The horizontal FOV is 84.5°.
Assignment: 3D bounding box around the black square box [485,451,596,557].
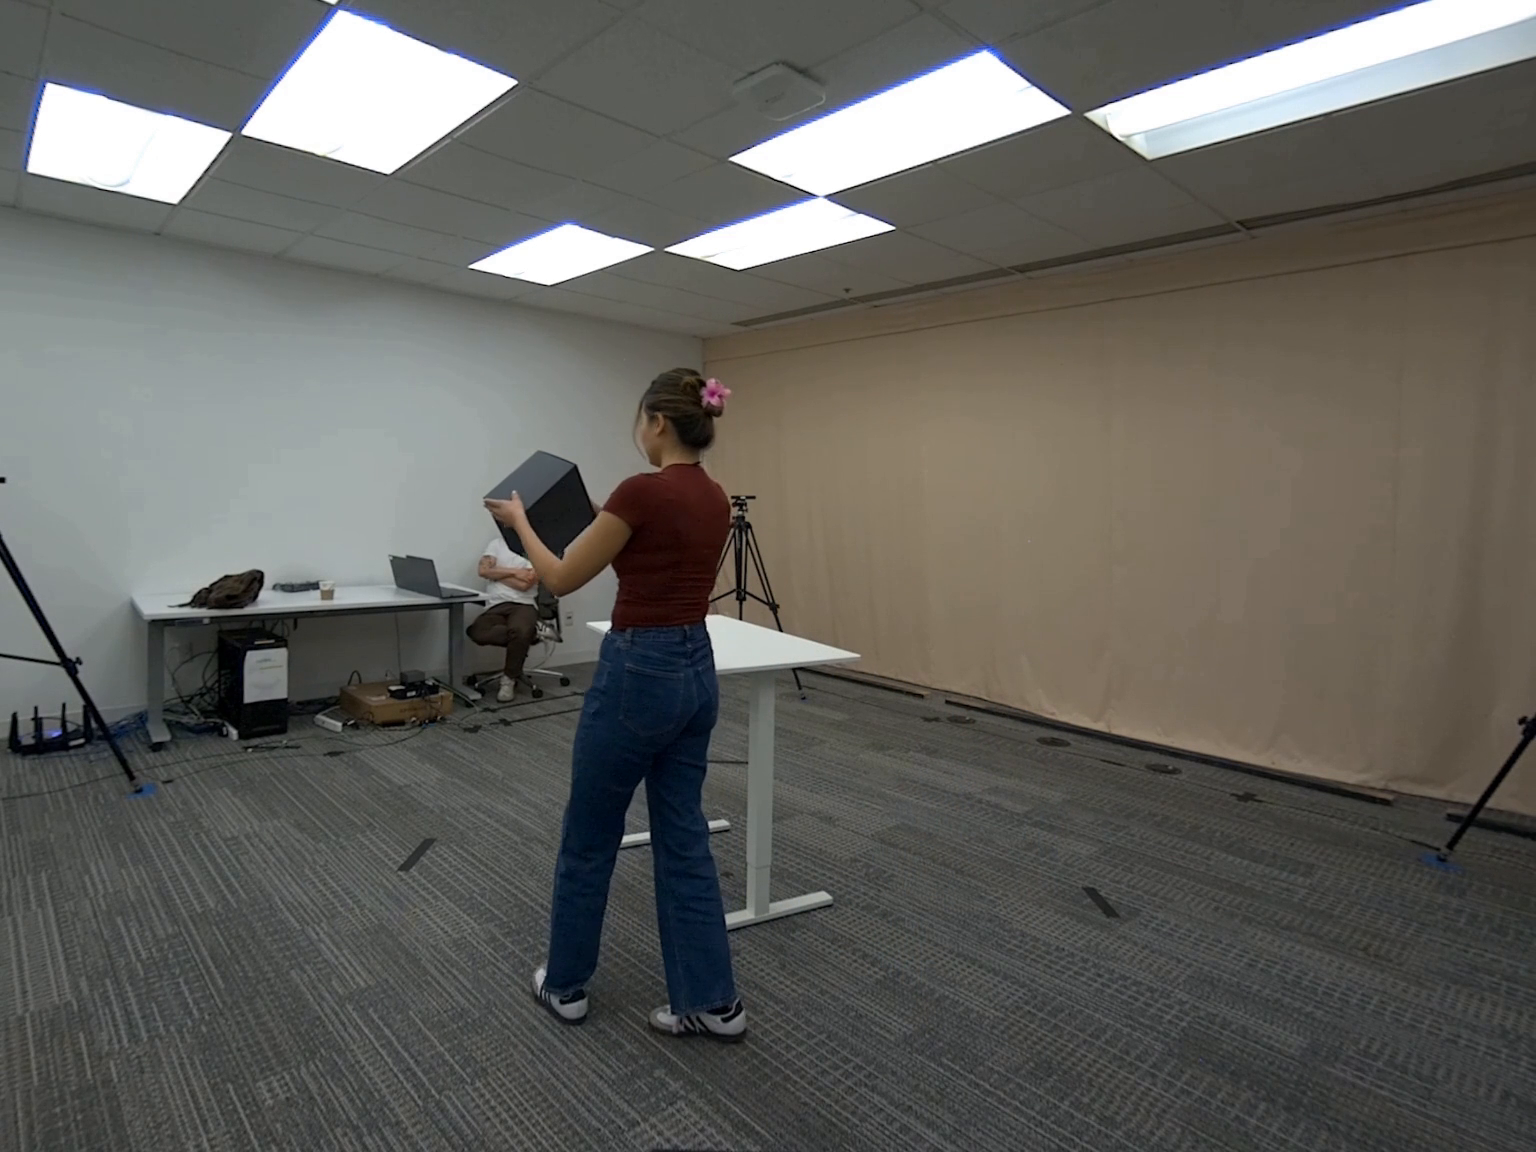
[{"bbox_3d":[-0.647,-0.191,2.405,0.160,0.211,0.228,21,55,28],"label":"black square box"}]
